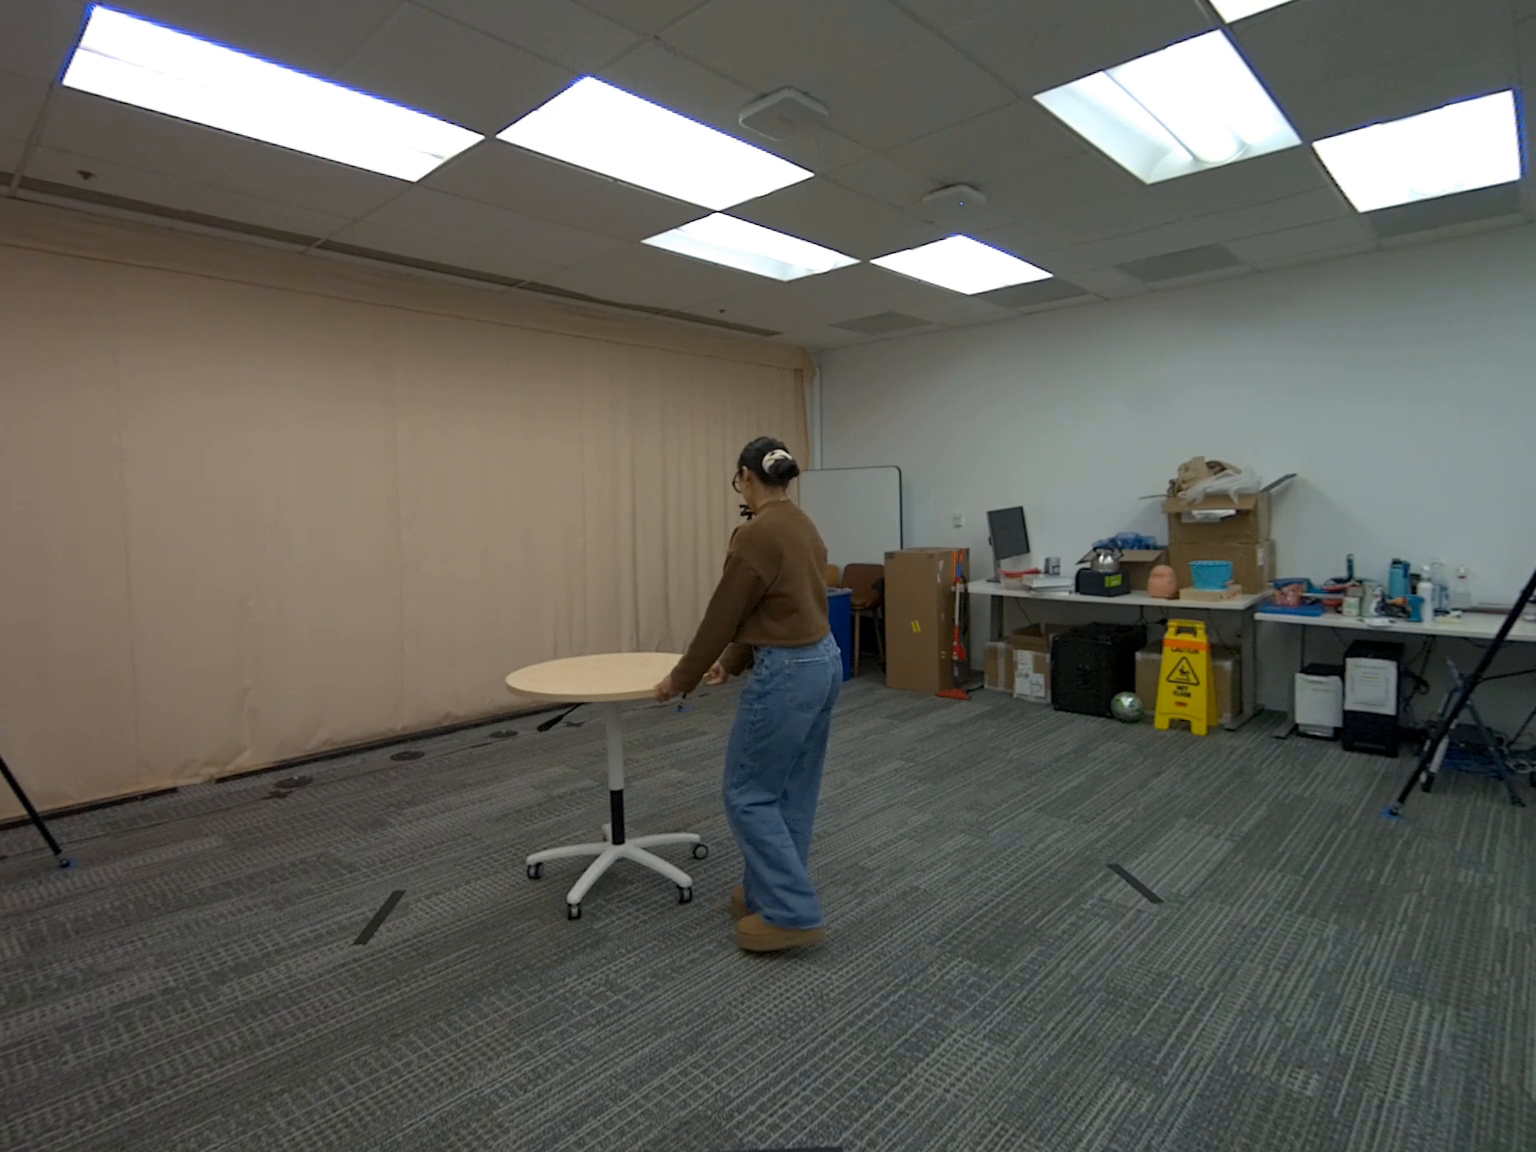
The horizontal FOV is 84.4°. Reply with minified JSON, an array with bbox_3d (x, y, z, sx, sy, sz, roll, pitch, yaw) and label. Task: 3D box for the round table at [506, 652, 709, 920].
[{"bbox_3d":[-0.539,0.743,3.138,0.784,0.784,0.788,-2,4,-2],"label":"round table"}]
